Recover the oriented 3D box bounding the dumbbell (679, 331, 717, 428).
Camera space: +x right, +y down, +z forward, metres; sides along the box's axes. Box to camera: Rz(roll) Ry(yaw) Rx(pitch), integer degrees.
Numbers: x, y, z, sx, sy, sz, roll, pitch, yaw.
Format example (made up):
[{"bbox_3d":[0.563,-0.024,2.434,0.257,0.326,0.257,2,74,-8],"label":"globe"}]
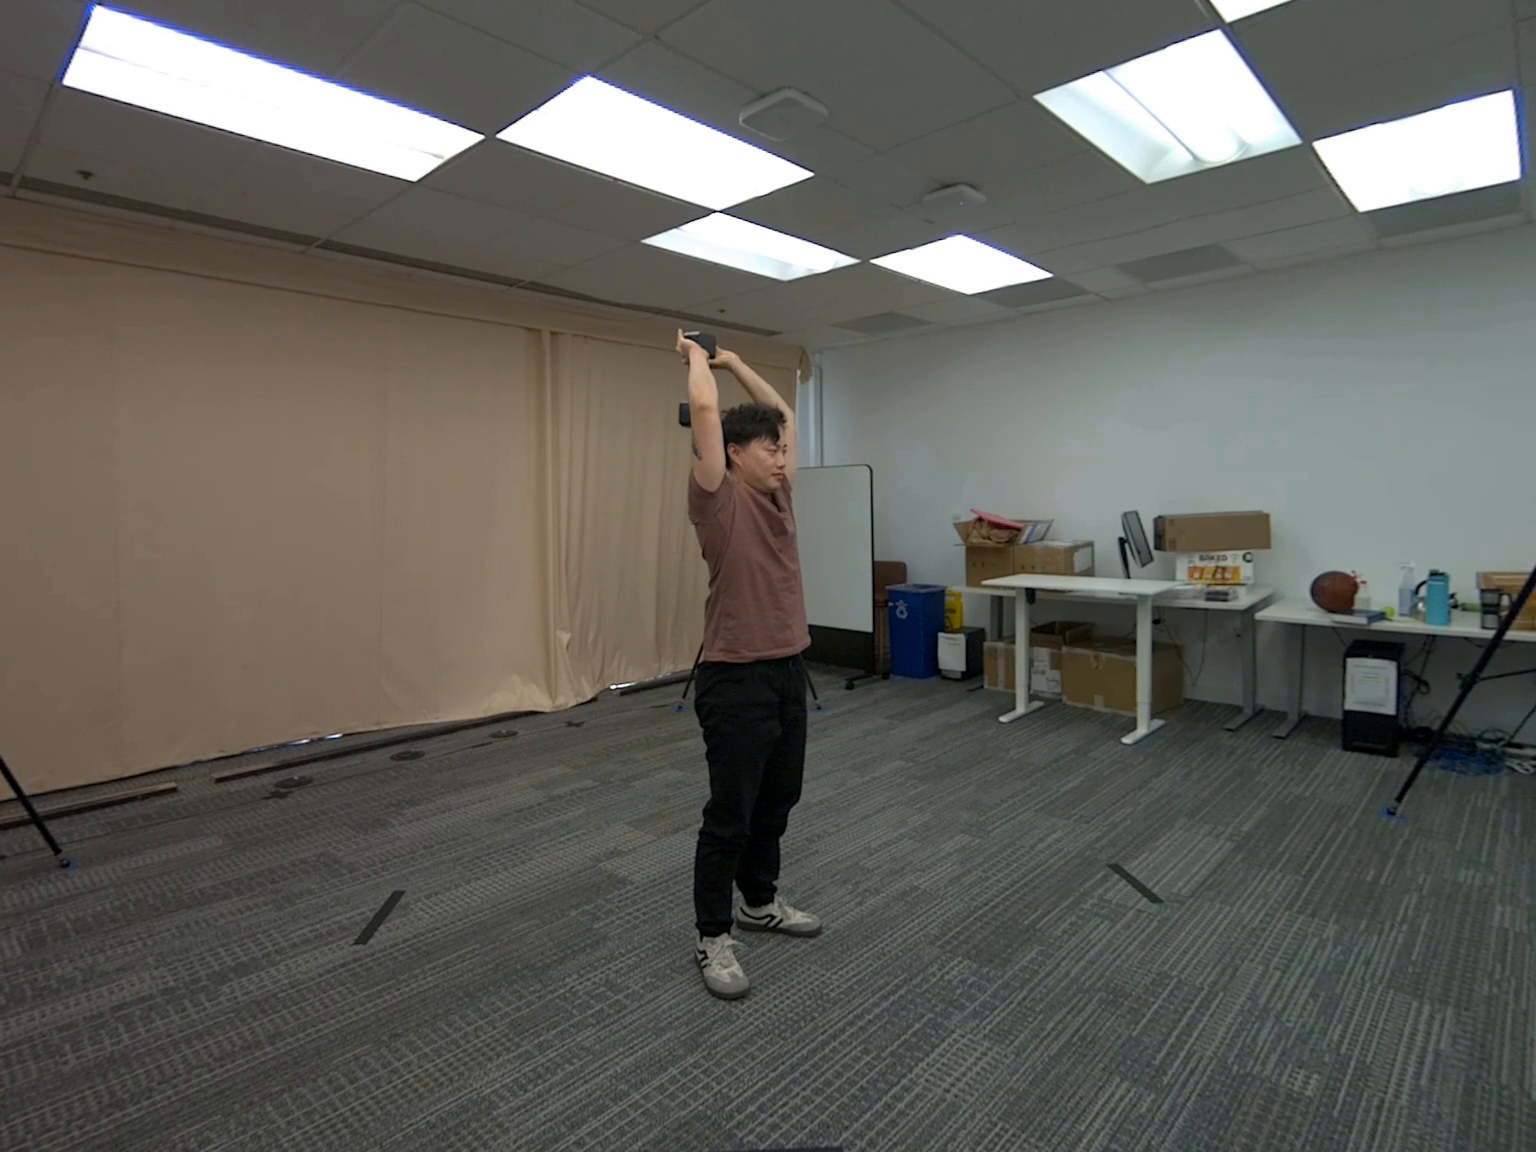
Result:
[{"bbox_3d":[-0.219,-0.613,2.664,0.127,0.293,0.105,9,6,37],"label":"dumbbell"}]
